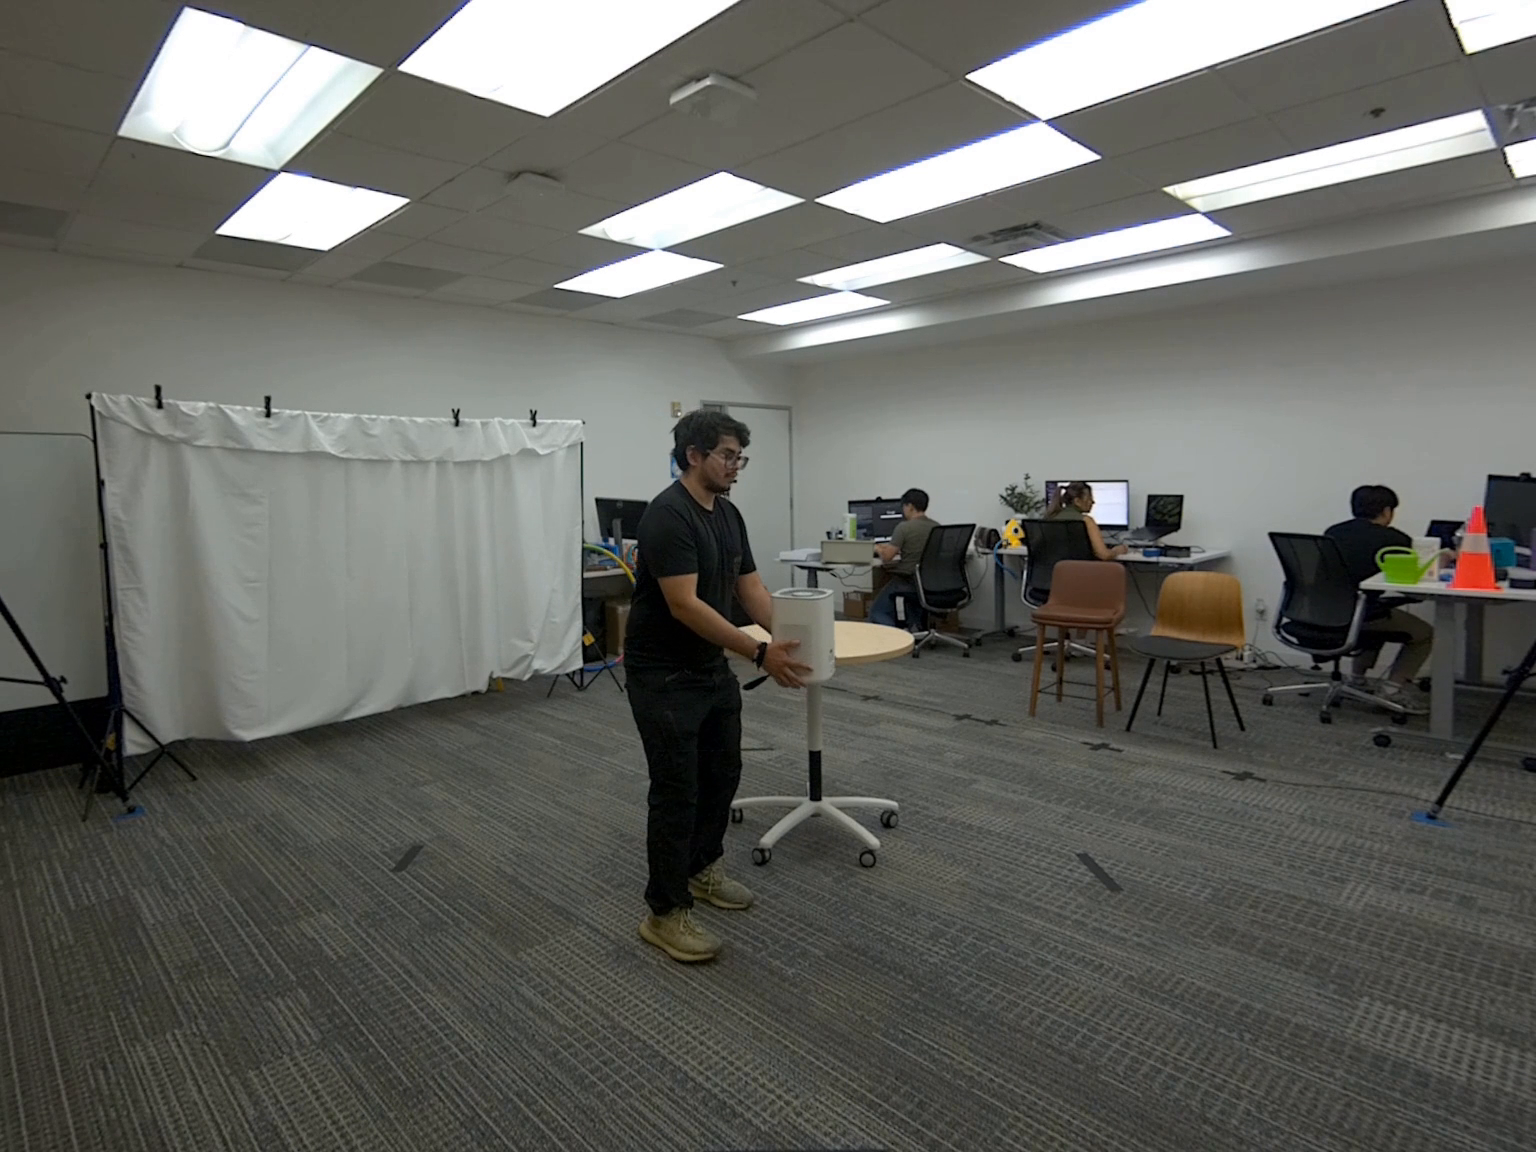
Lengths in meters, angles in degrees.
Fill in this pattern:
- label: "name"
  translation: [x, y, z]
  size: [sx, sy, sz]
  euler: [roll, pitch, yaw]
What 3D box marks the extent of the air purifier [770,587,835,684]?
- label: "air purifier"
  translation: [0.103, 0.182, 2.535]
  size: [0.175, 0.264, 0.168]
  euler: [1, 7, 21]
